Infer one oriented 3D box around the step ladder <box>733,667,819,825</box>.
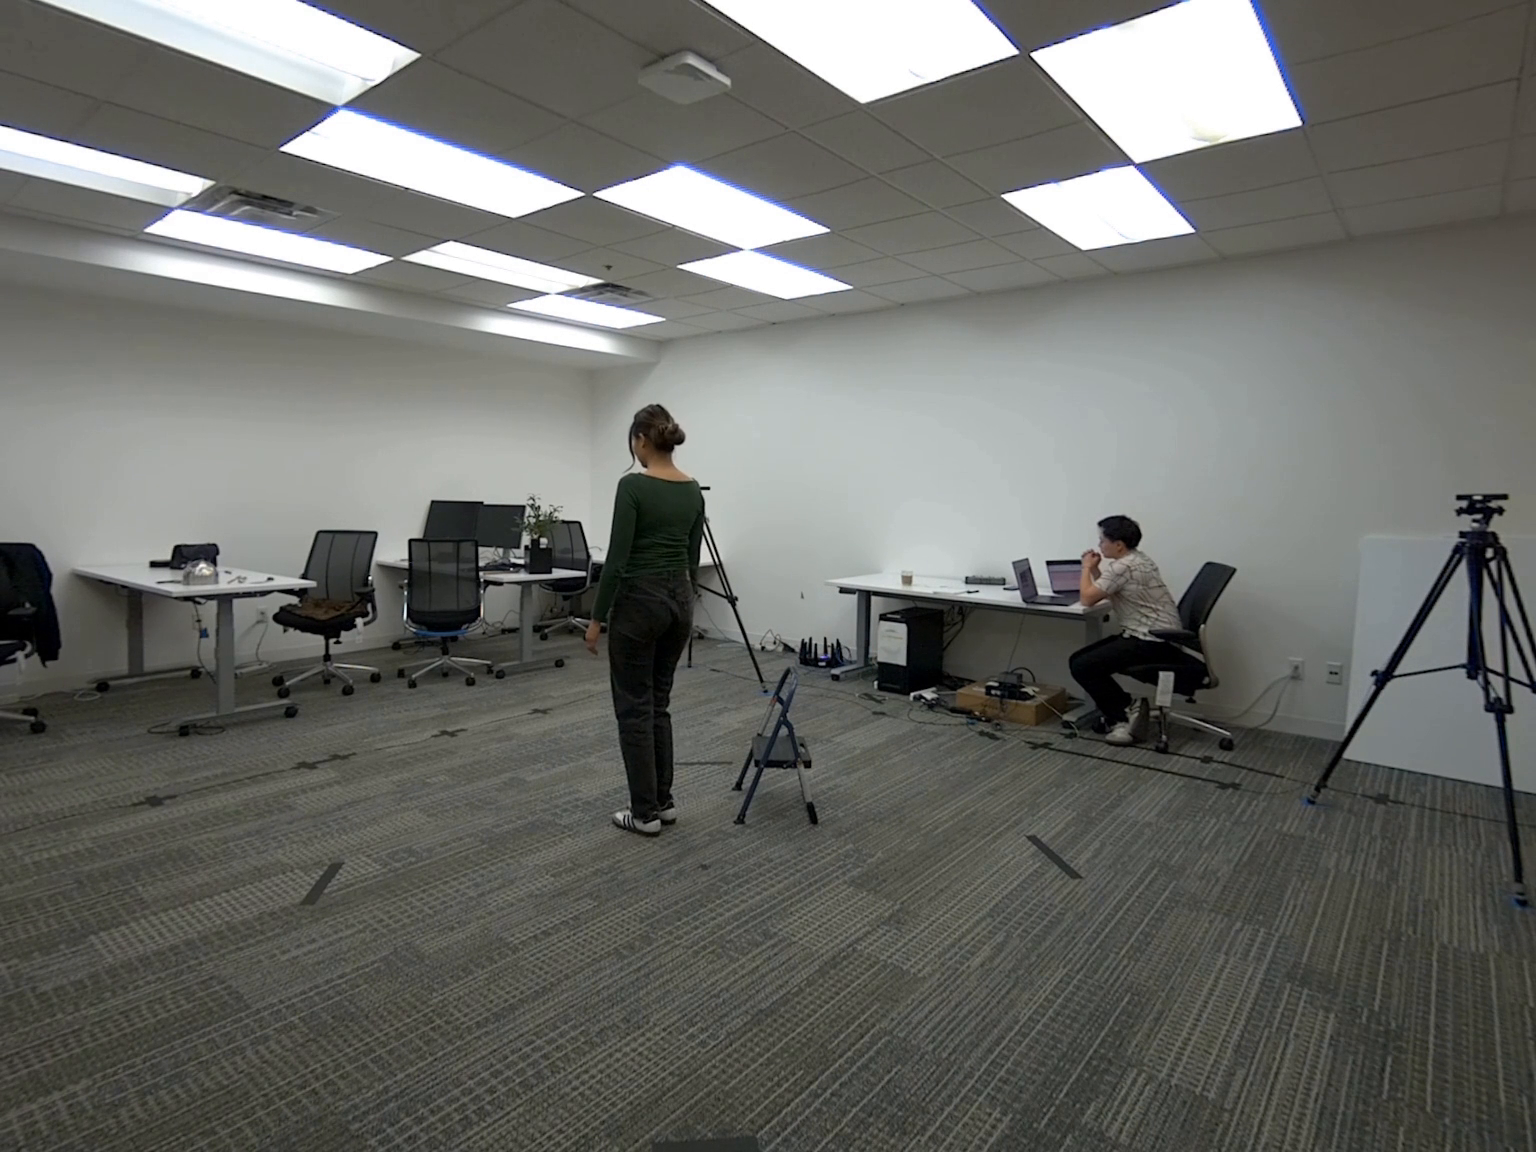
[{"bbox_3d":[0.021,0.708,3.721,0.349,0.604,0.433,0,4,-3],"label":"step ladder"}]
